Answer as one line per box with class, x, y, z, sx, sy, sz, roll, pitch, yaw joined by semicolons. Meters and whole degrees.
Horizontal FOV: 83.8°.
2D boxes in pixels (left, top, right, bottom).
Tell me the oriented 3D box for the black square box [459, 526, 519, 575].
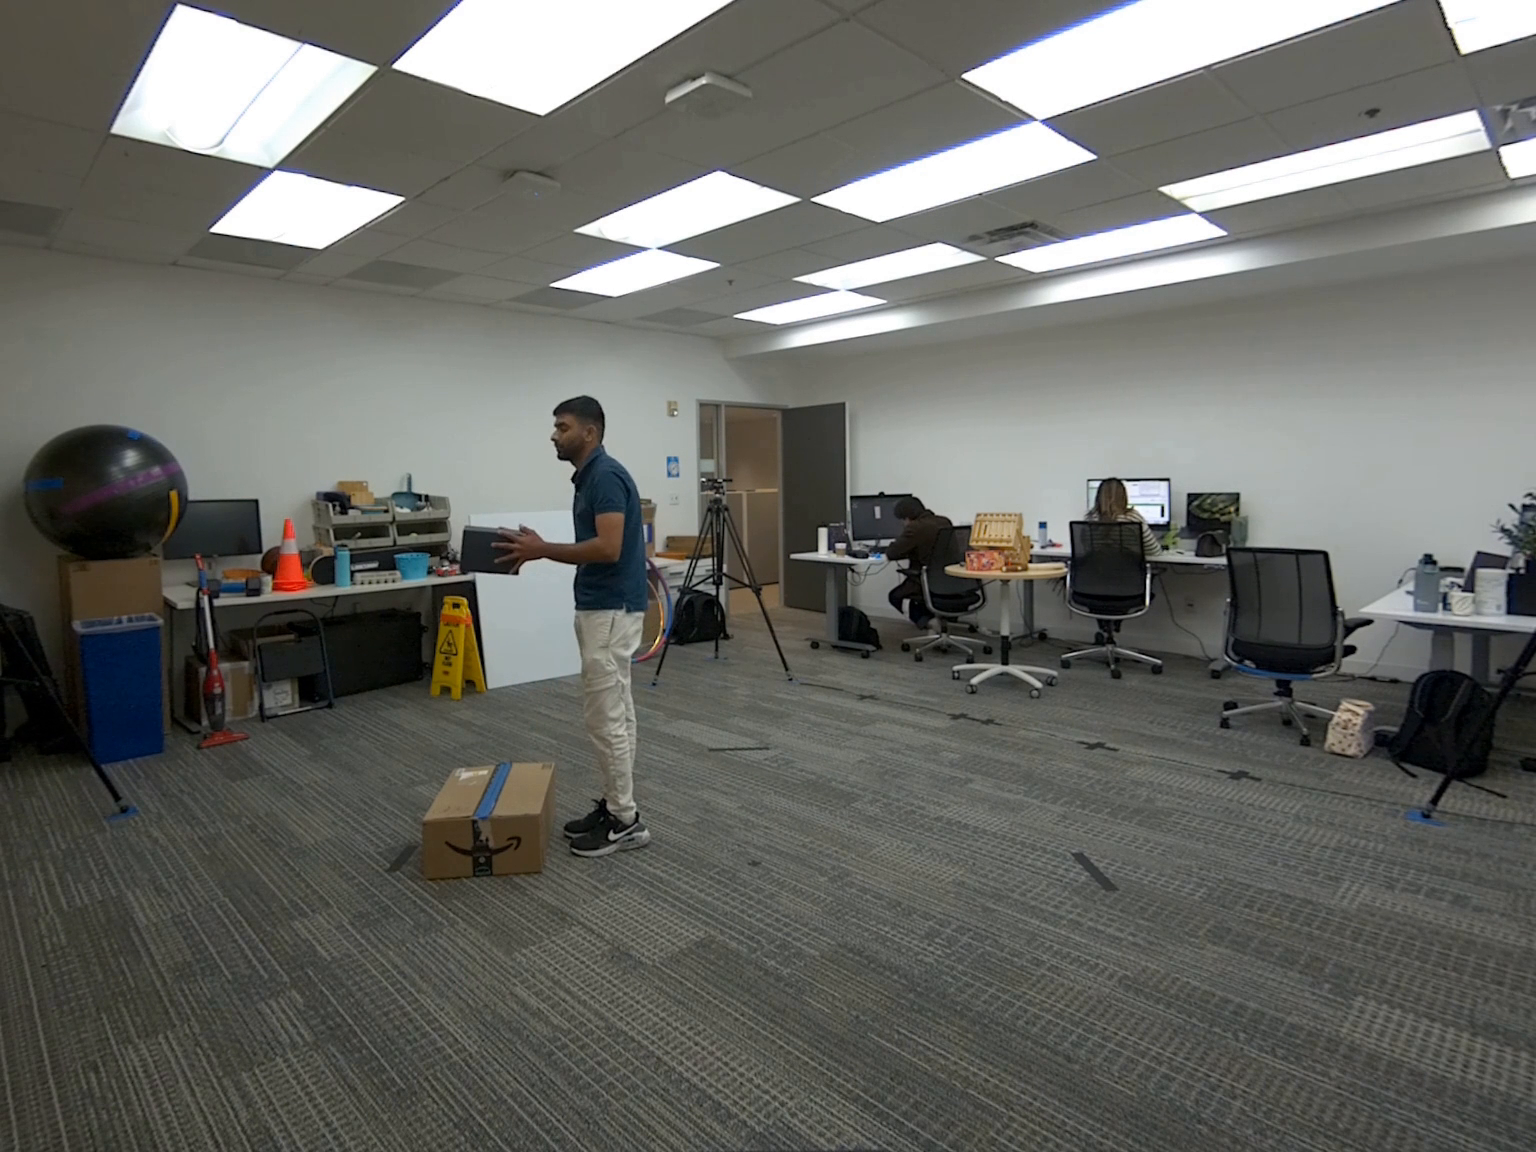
black square box;-1.055;-0.096;3.253;0.213;0.155;0.232;4;5;-17
